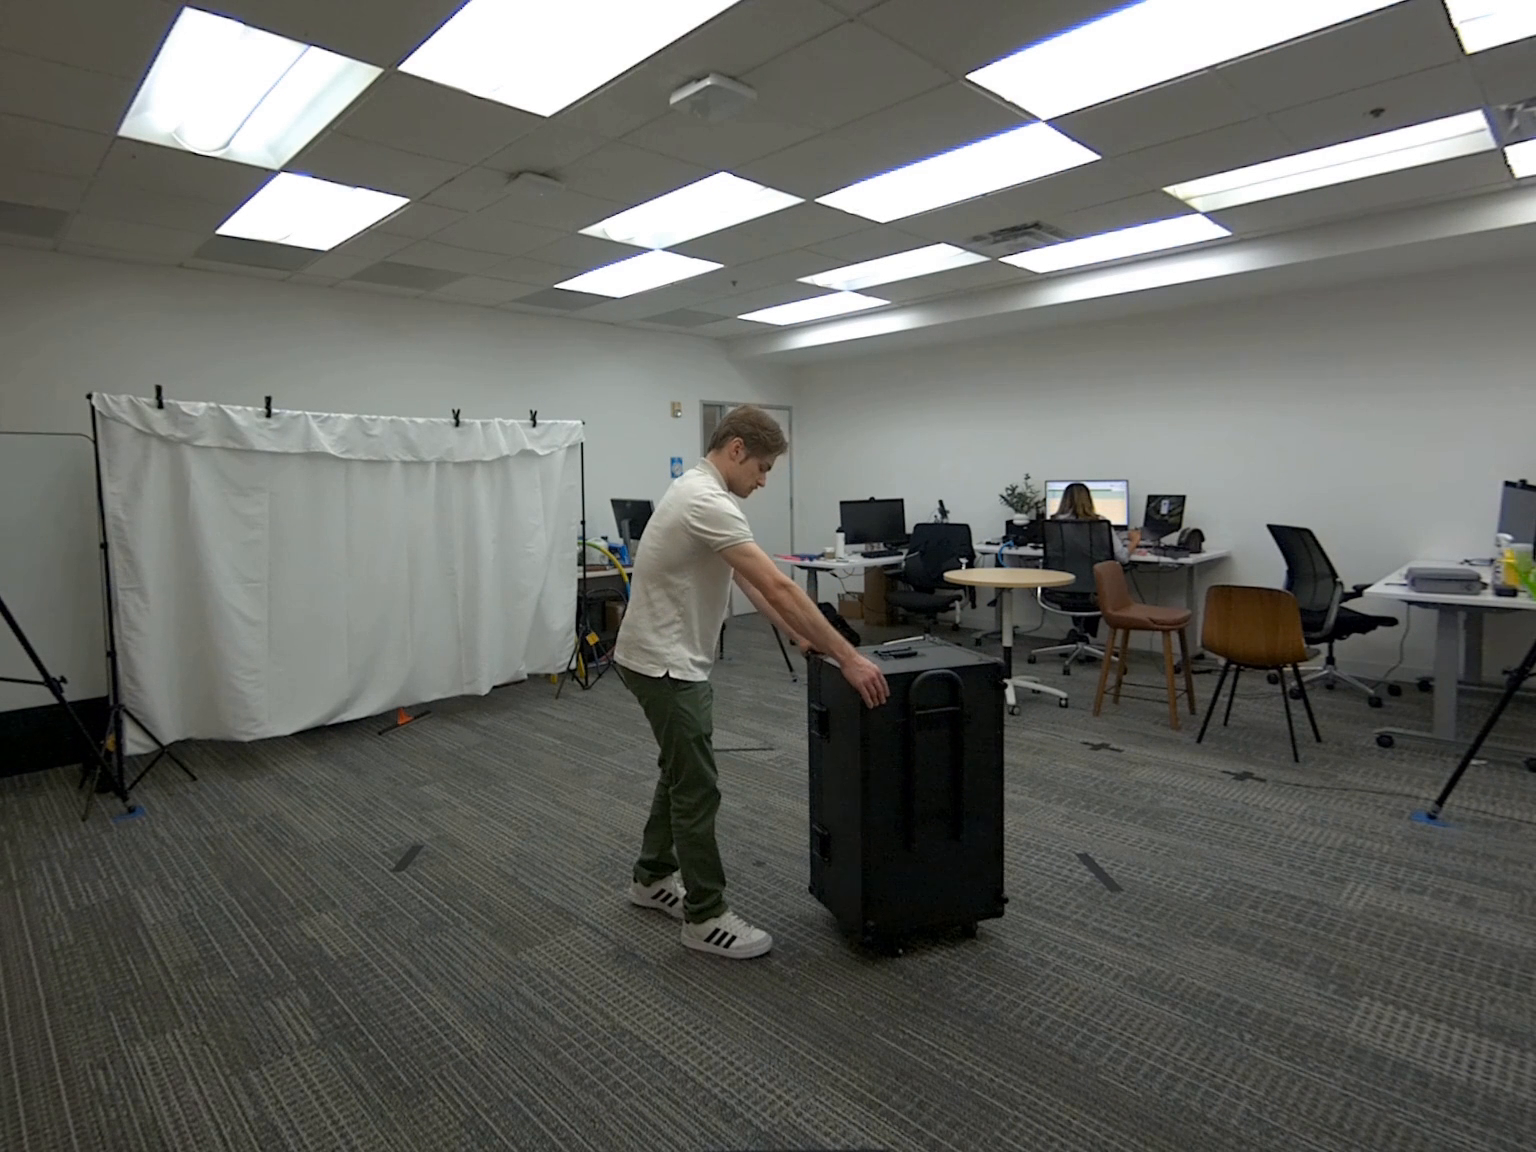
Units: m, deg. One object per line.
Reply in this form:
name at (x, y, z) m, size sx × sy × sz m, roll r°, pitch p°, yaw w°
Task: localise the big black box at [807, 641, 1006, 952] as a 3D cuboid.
big black box at (0.430, 0.672, 2.635) m, size 0.514 × 0.864 × 0.394 m, roll -3°, pitch 5°, yaw -21°
